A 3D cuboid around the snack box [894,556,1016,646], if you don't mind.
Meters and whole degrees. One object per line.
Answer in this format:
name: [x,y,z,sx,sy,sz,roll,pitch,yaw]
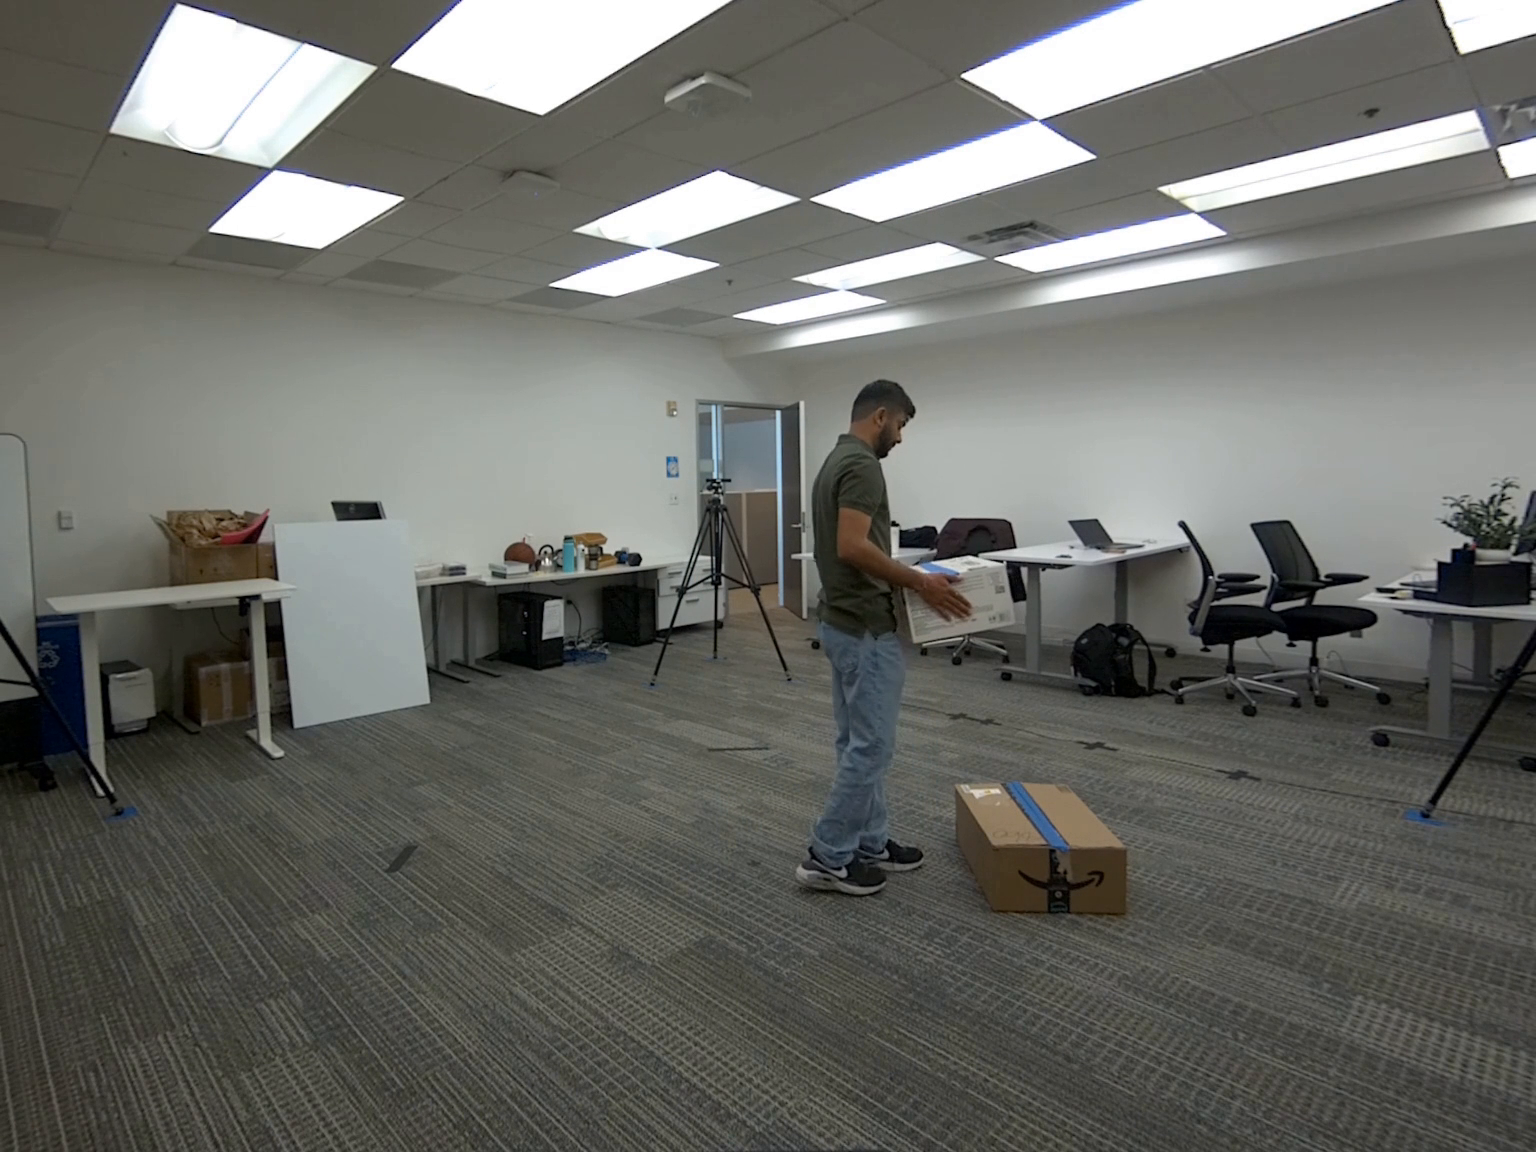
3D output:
snack box: [0.601,0.070,2.963,0.340,0.205,0.407,-11,5,-2]
